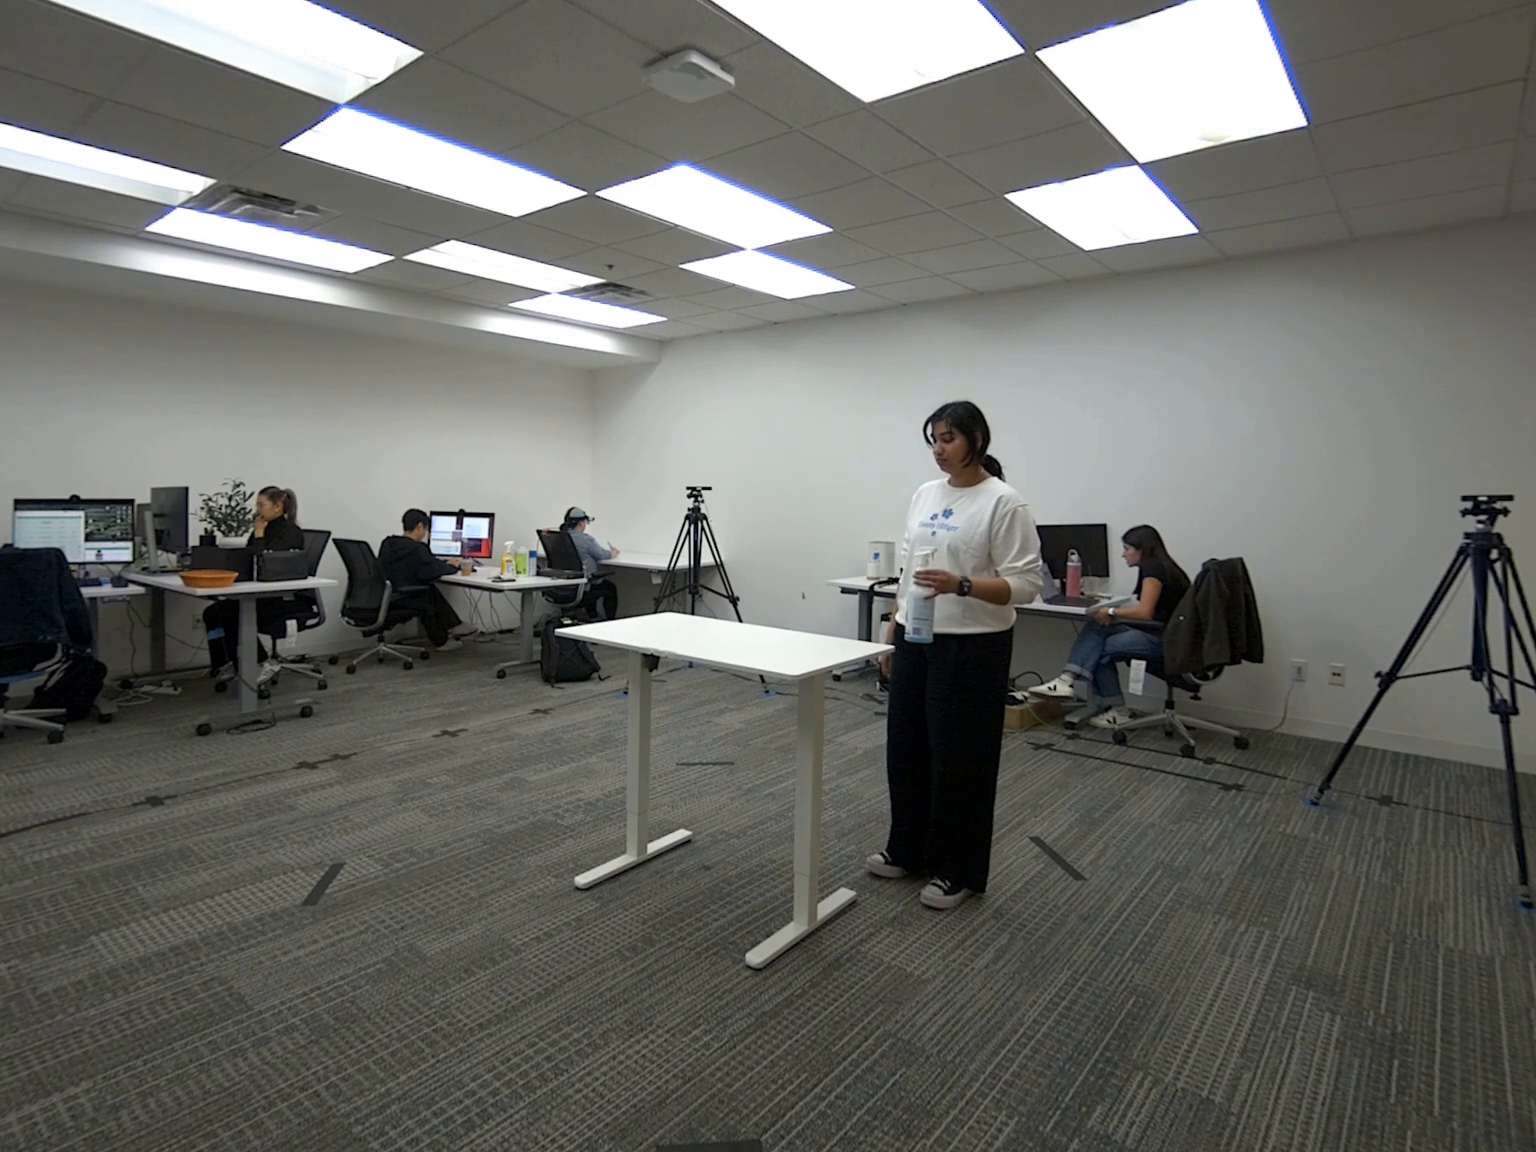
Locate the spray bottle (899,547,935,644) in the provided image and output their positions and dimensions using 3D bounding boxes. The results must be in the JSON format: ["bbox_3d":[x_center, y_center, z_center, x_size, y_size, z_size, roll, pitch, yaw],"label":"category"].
[{"bbox_3d":[0.485,0.061,2.656,0.086,0.298,0.090,3,-2,-5],"label":"spray bottle"}]
